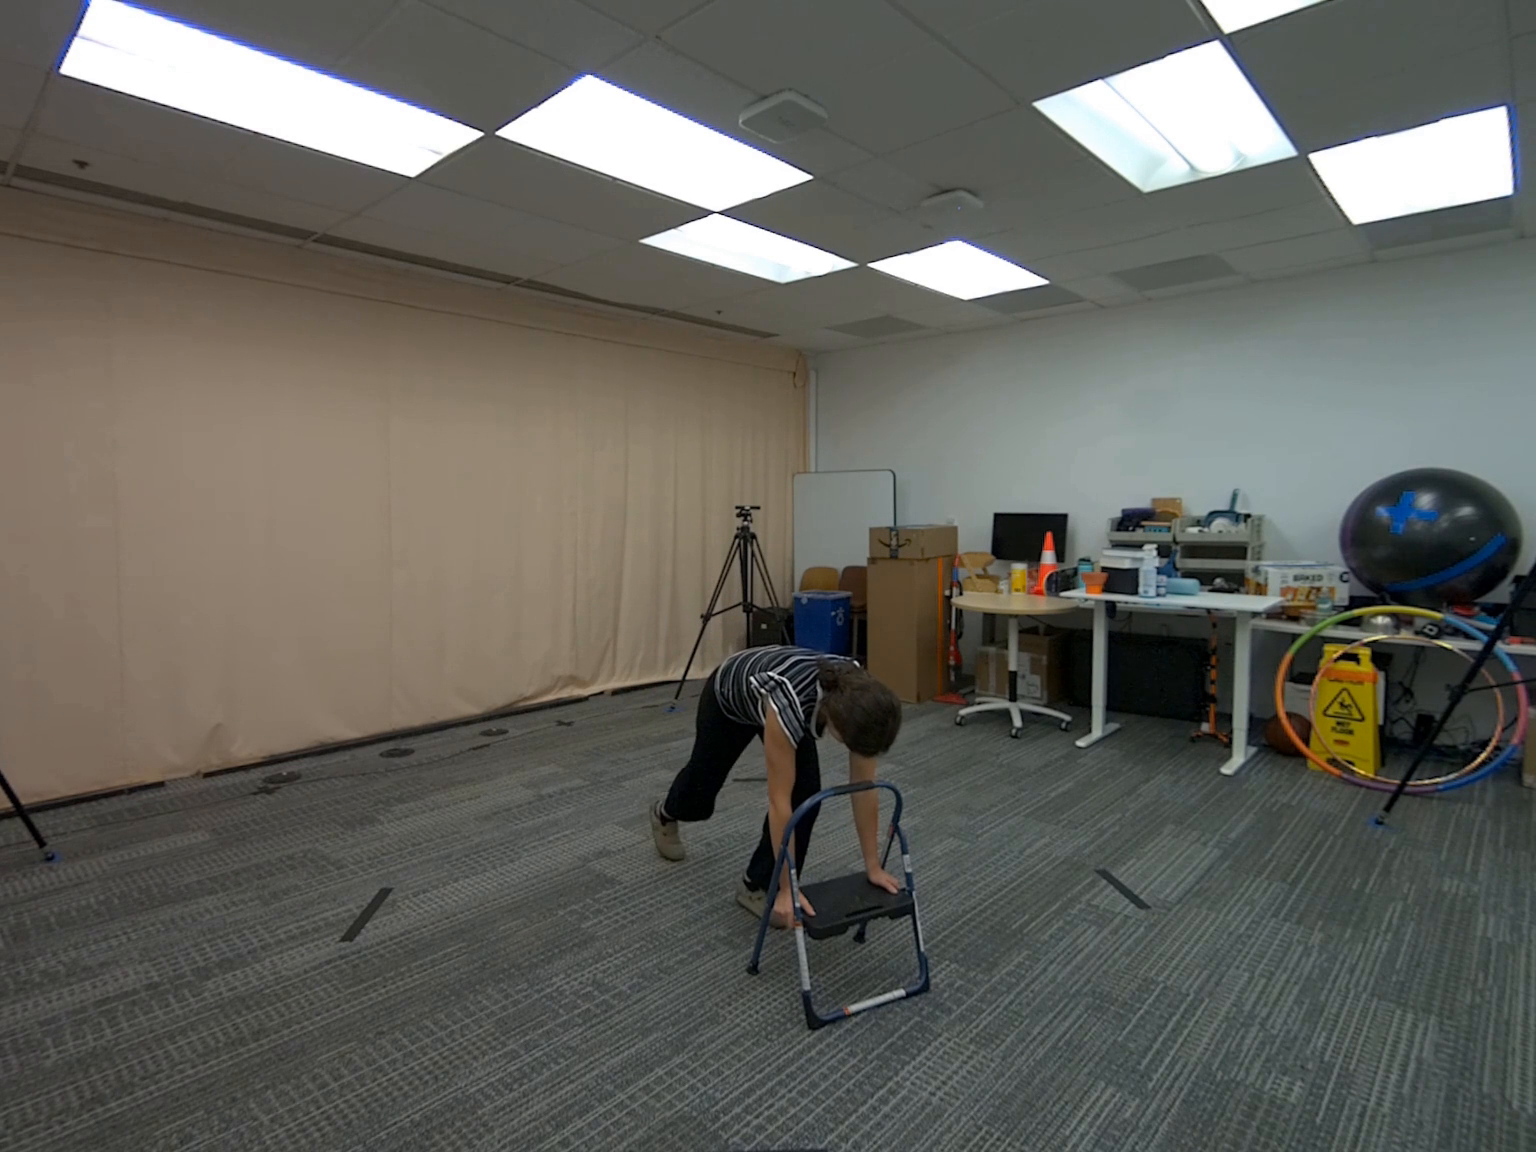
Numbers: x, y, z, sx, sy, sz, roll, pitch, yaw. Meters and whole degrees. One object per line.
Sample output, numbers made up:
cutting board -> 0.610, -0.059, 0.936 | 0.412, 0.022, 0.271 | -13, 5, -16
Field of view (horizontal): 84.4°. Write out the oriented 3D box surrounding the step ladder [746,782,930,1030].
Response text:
step ladder -> 0.210, 0.887, 2.458 | 0.419, 0.605, 0.359 | -2, 4, -30
